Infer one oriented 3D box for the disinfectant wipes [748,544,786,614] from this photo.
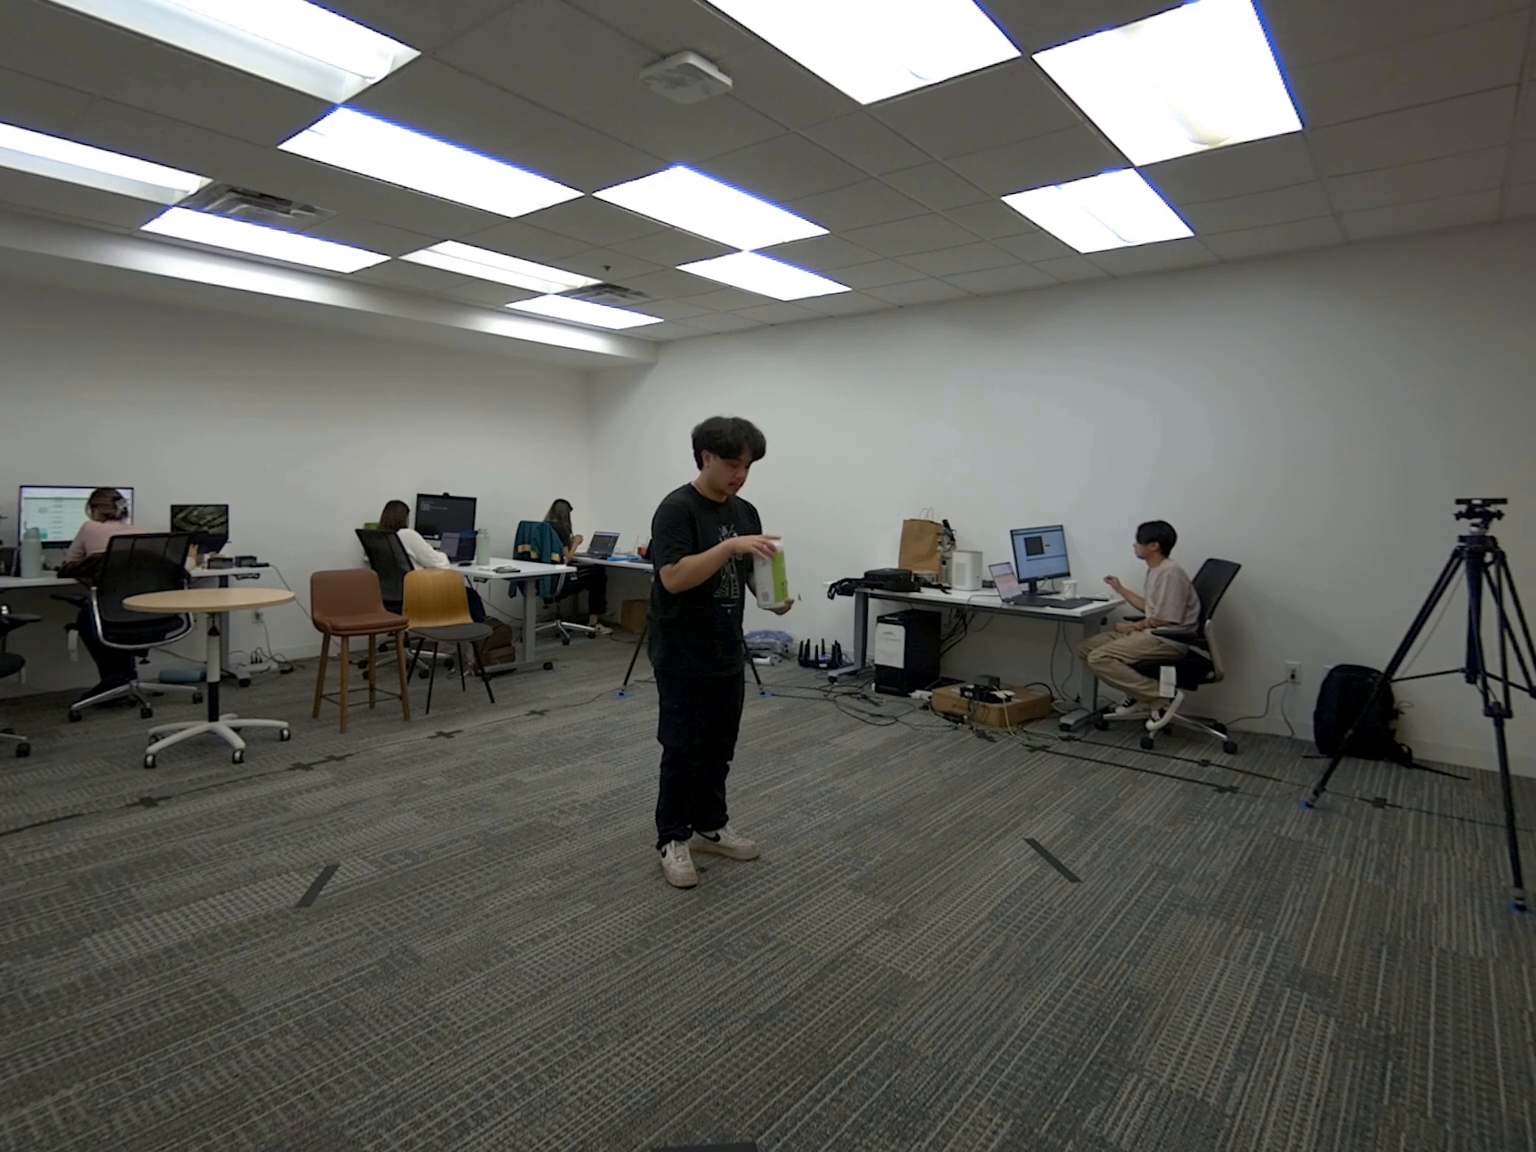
[{"bbox_3d":[-0.014,0.004,2.897,0.118,0.216,0.118,-7,4,-1],"label":"disinfectant wipes"}]
